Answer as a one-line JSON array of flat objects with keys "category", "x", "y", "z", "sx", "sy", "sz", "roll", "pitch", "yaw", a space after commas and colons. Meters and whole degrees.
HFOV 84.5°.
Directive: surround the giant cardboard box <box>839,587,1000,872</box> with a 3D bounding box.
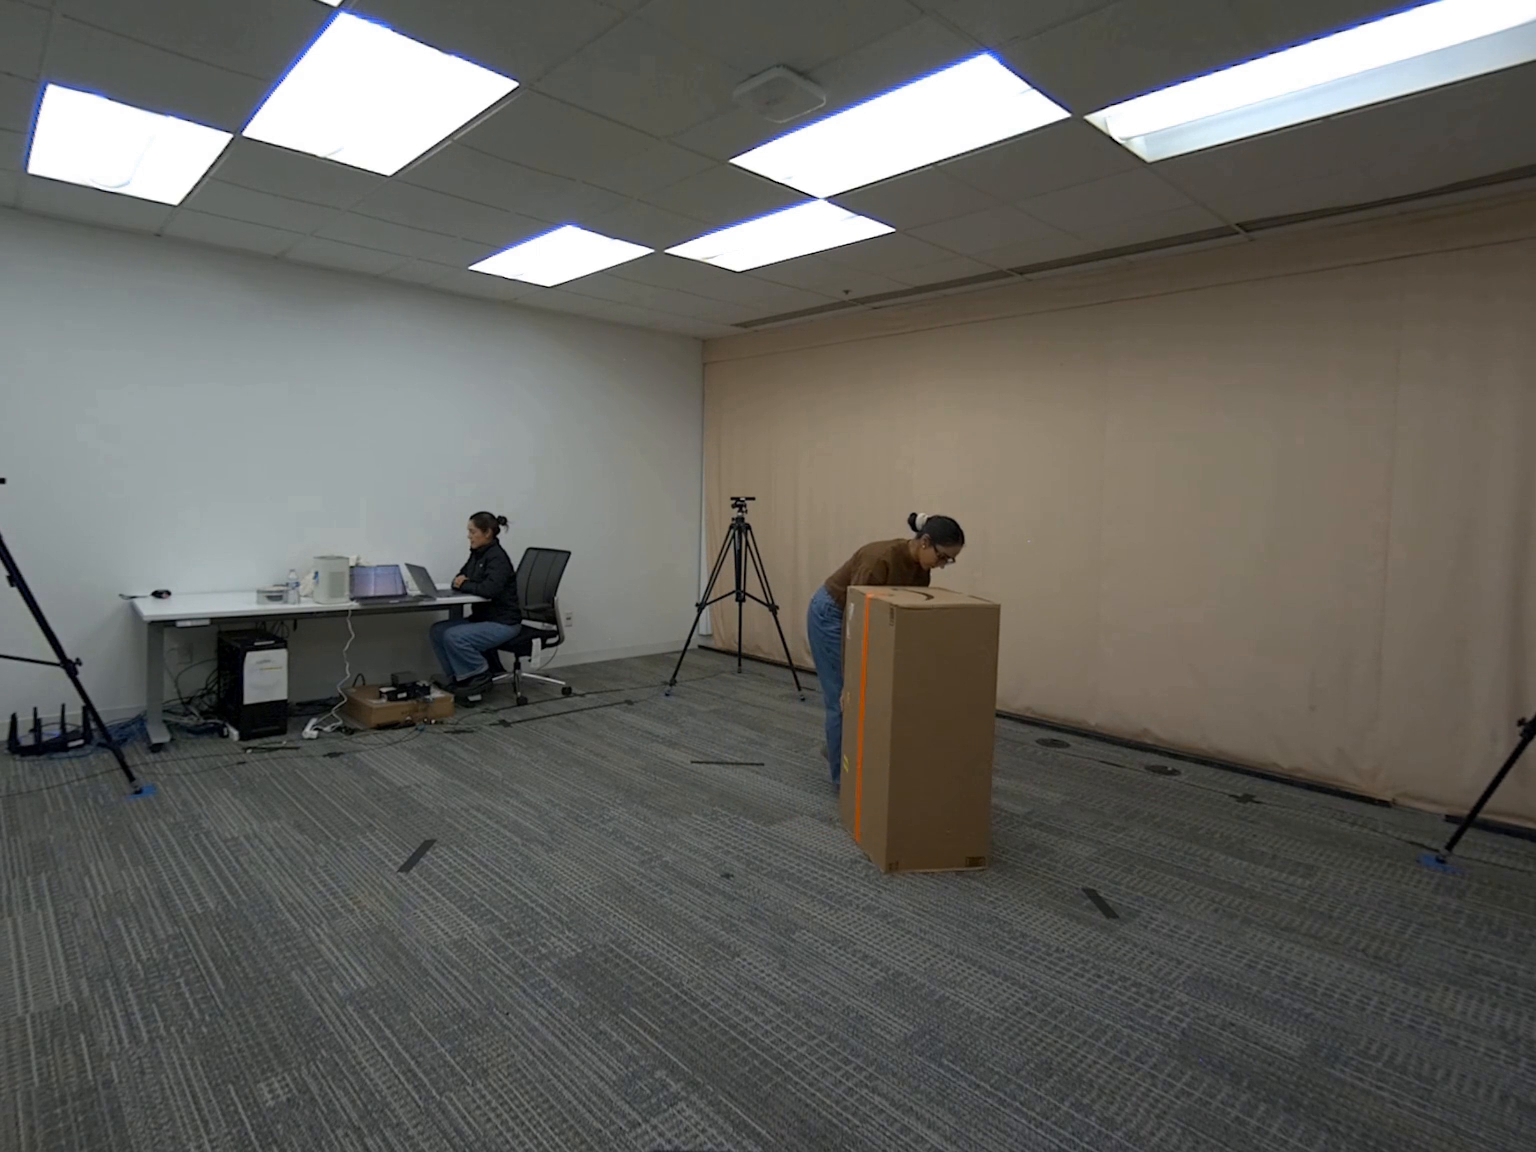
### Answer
[{"category": "giant cardboard box", "x": 0.582, "y": 0.587, "z": 3.426, "sx": 0.422, "sy": 1.022, "sz": 0.585, "roll": 1, "pitch": 5, "yaw": -13}]
